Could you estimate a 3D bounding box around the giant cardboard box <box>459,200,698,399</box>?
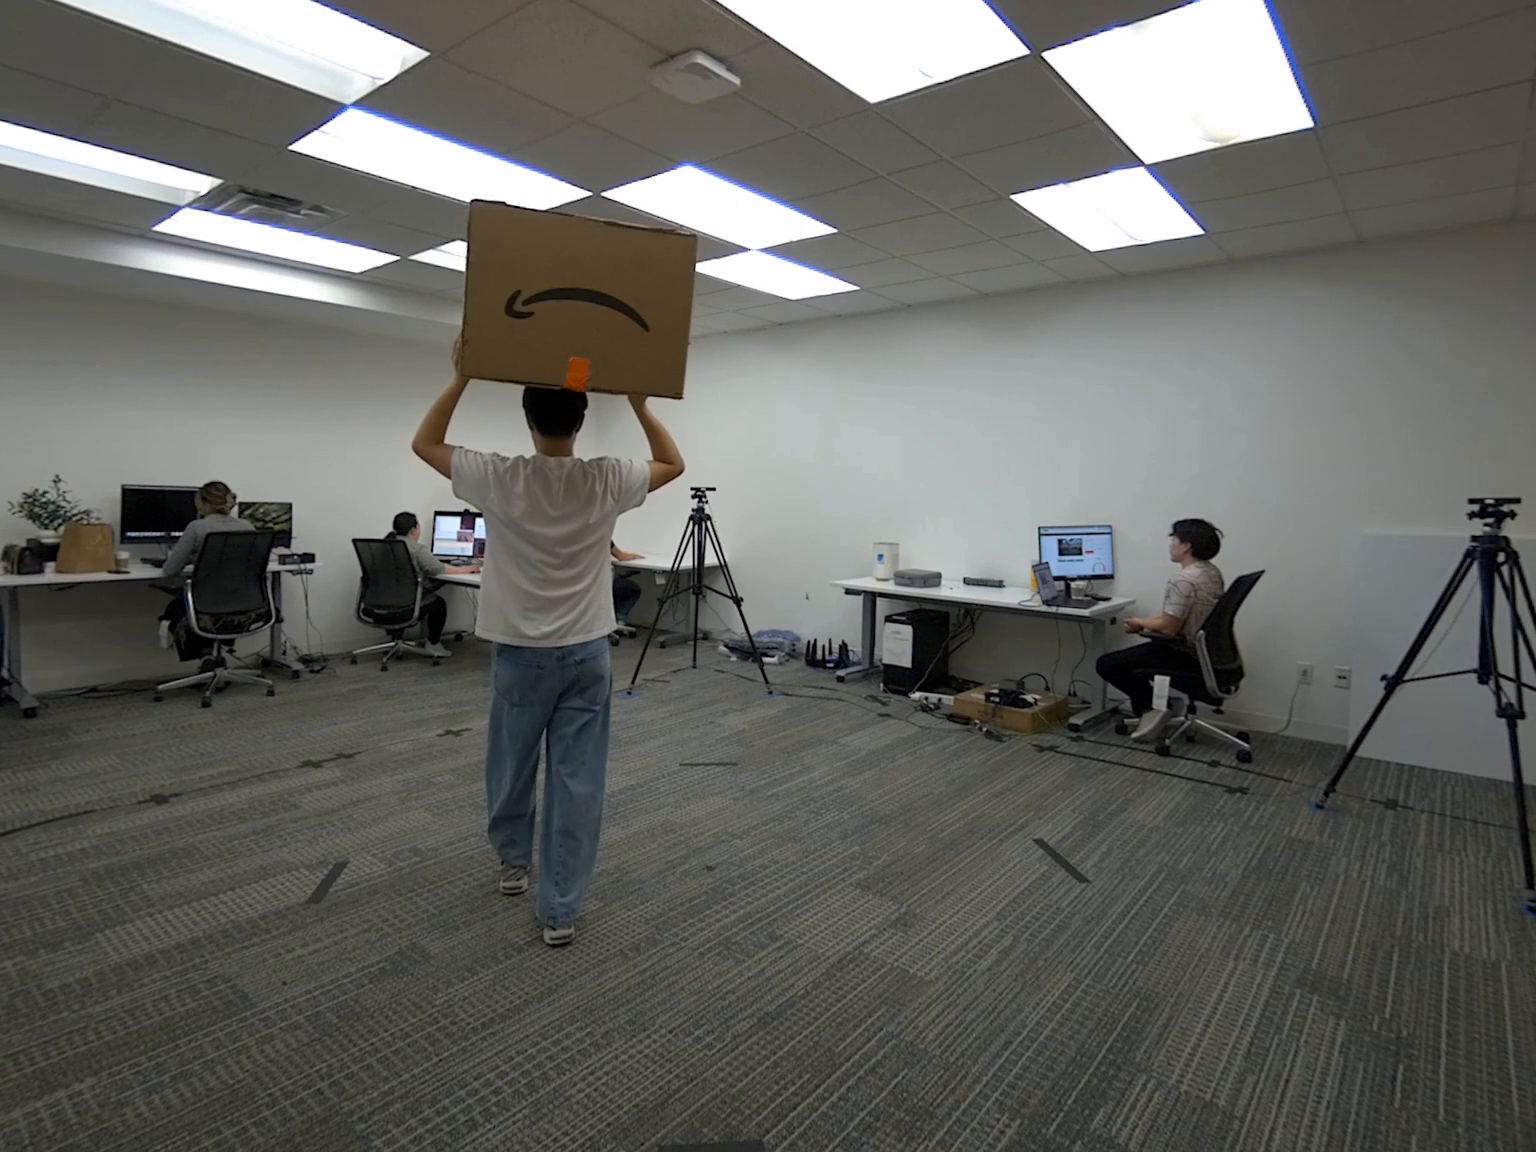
[{"bbox_3d":[-0.638,-0.841,2.626,0.566,0.421,1.058,4,16,-19],"label":"giant cardboard box"}]
